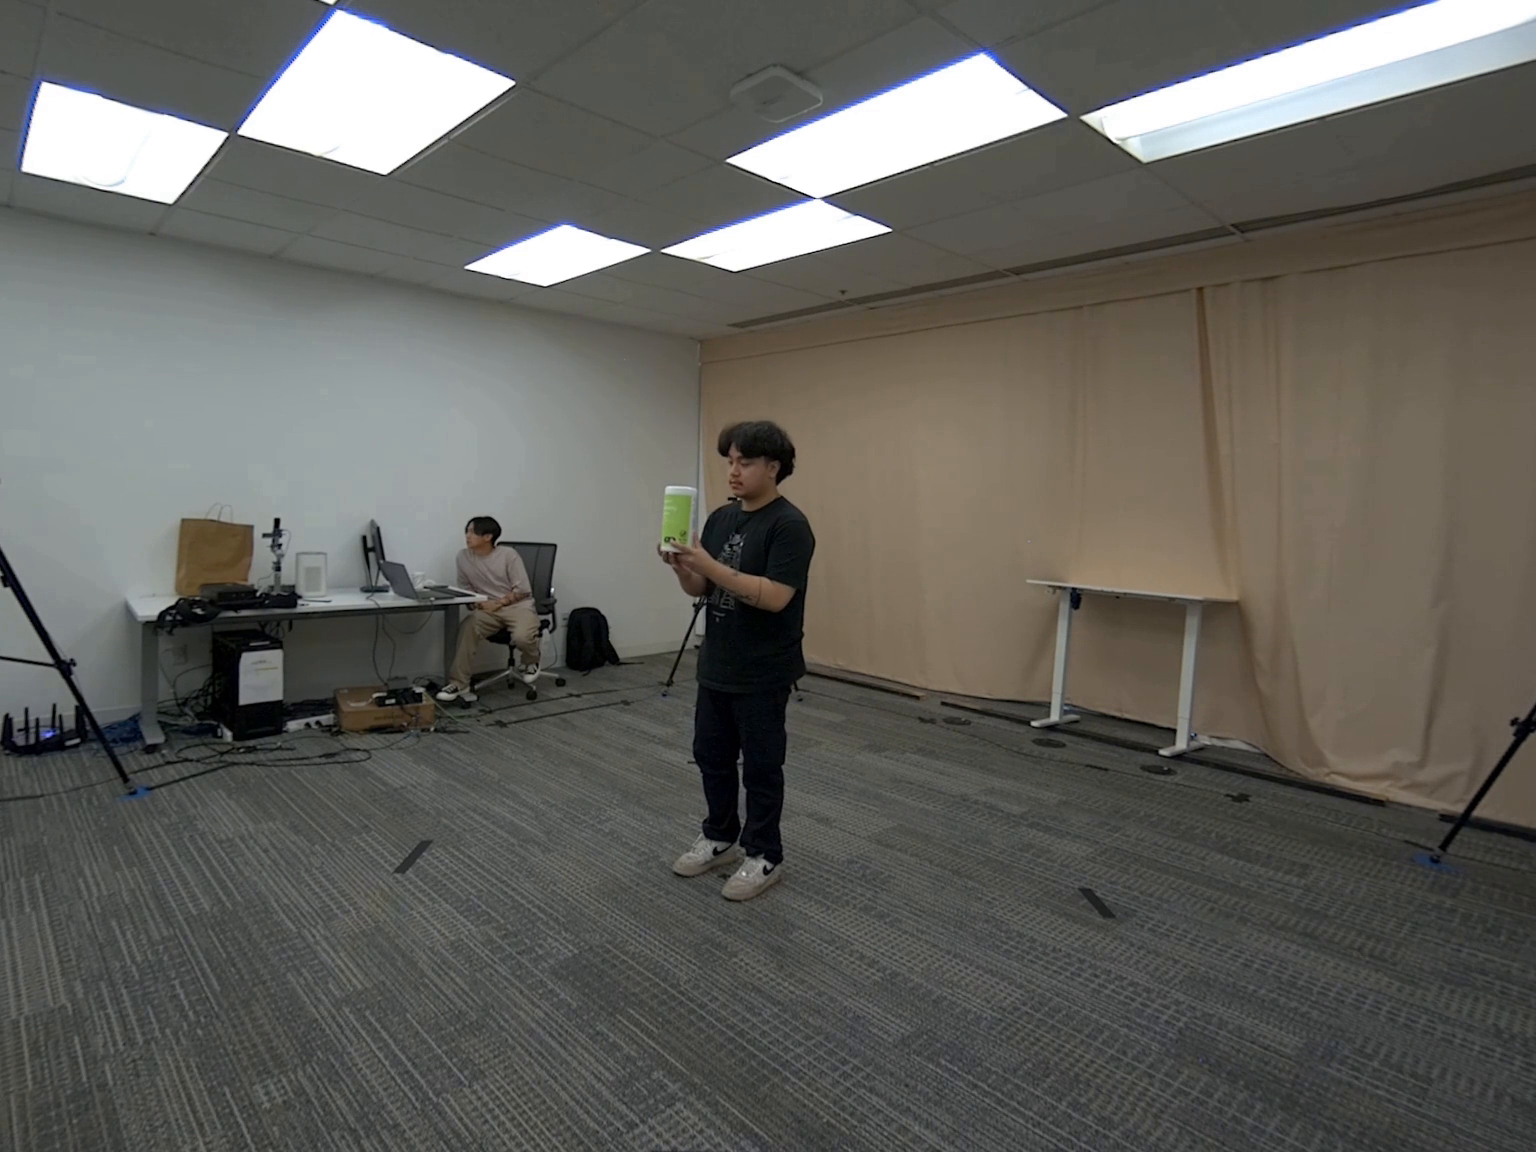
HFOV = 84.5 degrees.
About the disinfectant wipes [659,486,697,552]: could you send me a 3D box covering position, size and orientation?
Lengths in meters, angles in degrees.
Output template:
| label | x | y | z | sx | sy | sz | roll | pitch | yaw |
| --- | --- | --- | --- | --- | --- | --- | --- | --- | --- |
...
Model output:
| label | x | y | z | sx | sy | sz | roll | pitch | yaw |
| --- | --- | --- | --- | --- | --- | --- | --- | --- | --- |
| disinfectant wipes | -0.307 | -0.183 | 2.766 | 0.118 | 0.217 | 0.118 | 4 | -1 | -1 |
